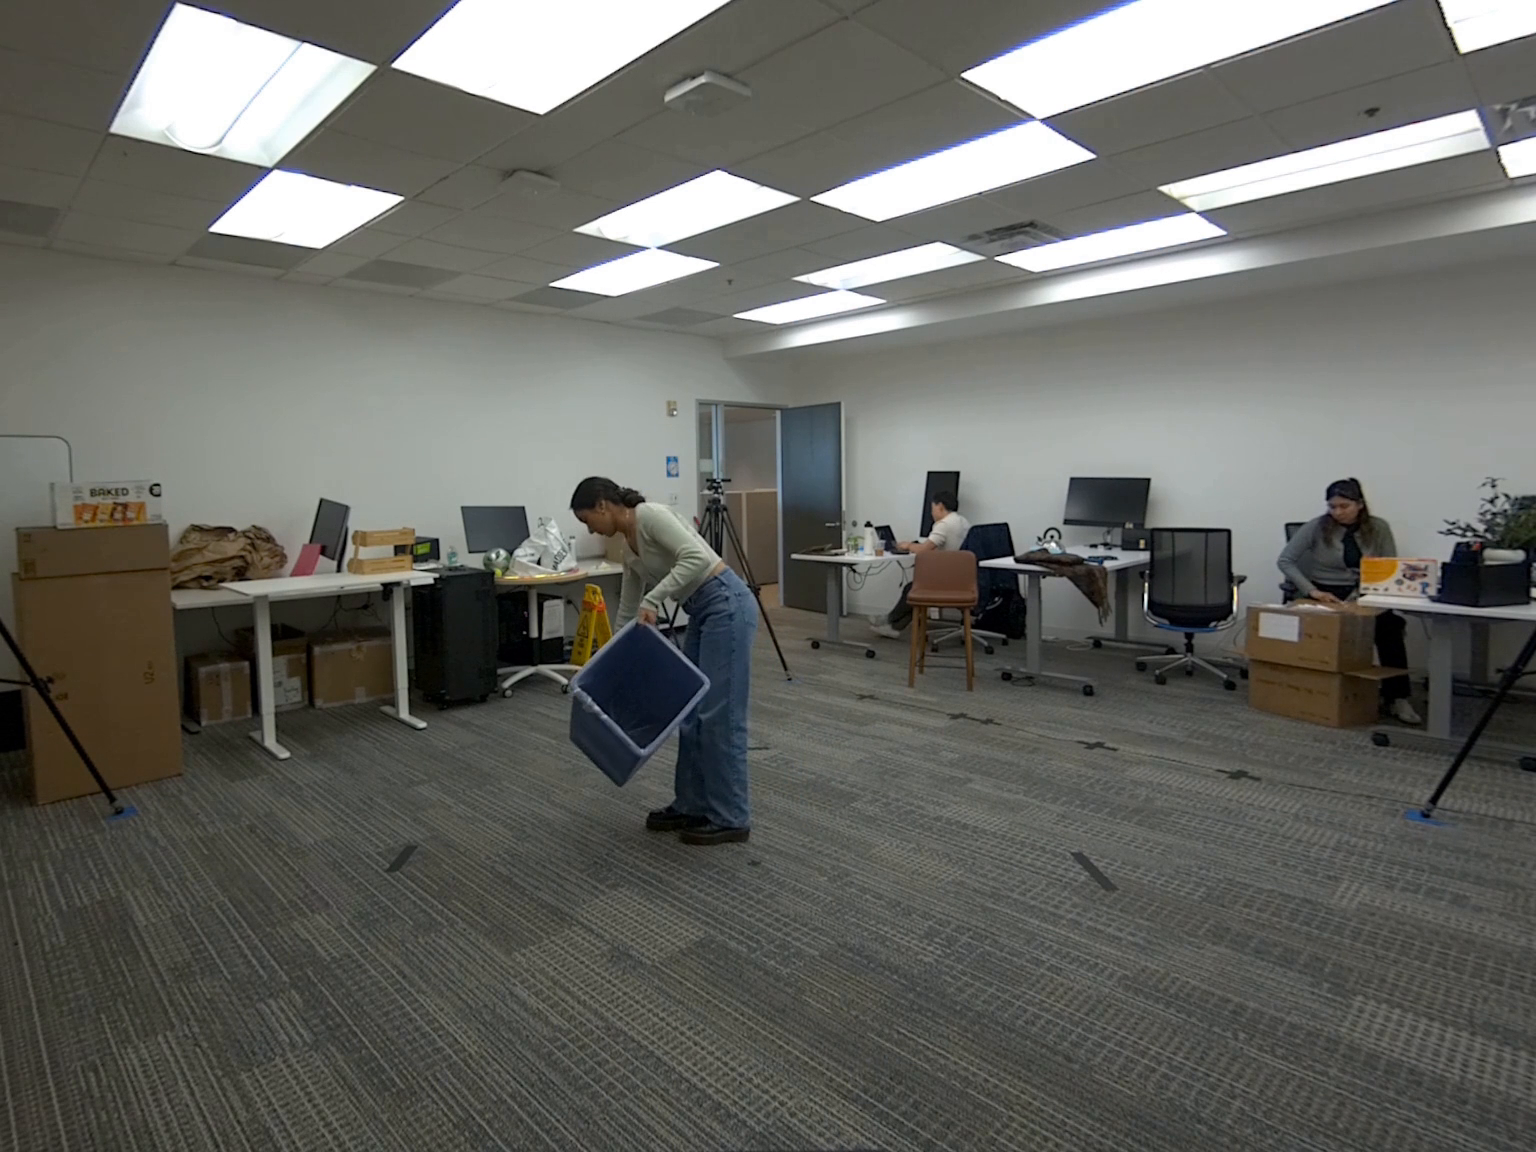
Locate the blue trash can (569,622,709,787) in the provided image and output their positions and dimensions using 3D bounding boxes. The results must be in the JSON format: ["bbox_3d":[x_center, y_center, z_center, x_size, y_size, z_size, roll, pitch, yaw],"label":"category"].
[{"bbox_3d":[-0.535,0.515,3.257,0.373,0.382,0.707,-44,-8,-29],"label":"blue trash can"}]
